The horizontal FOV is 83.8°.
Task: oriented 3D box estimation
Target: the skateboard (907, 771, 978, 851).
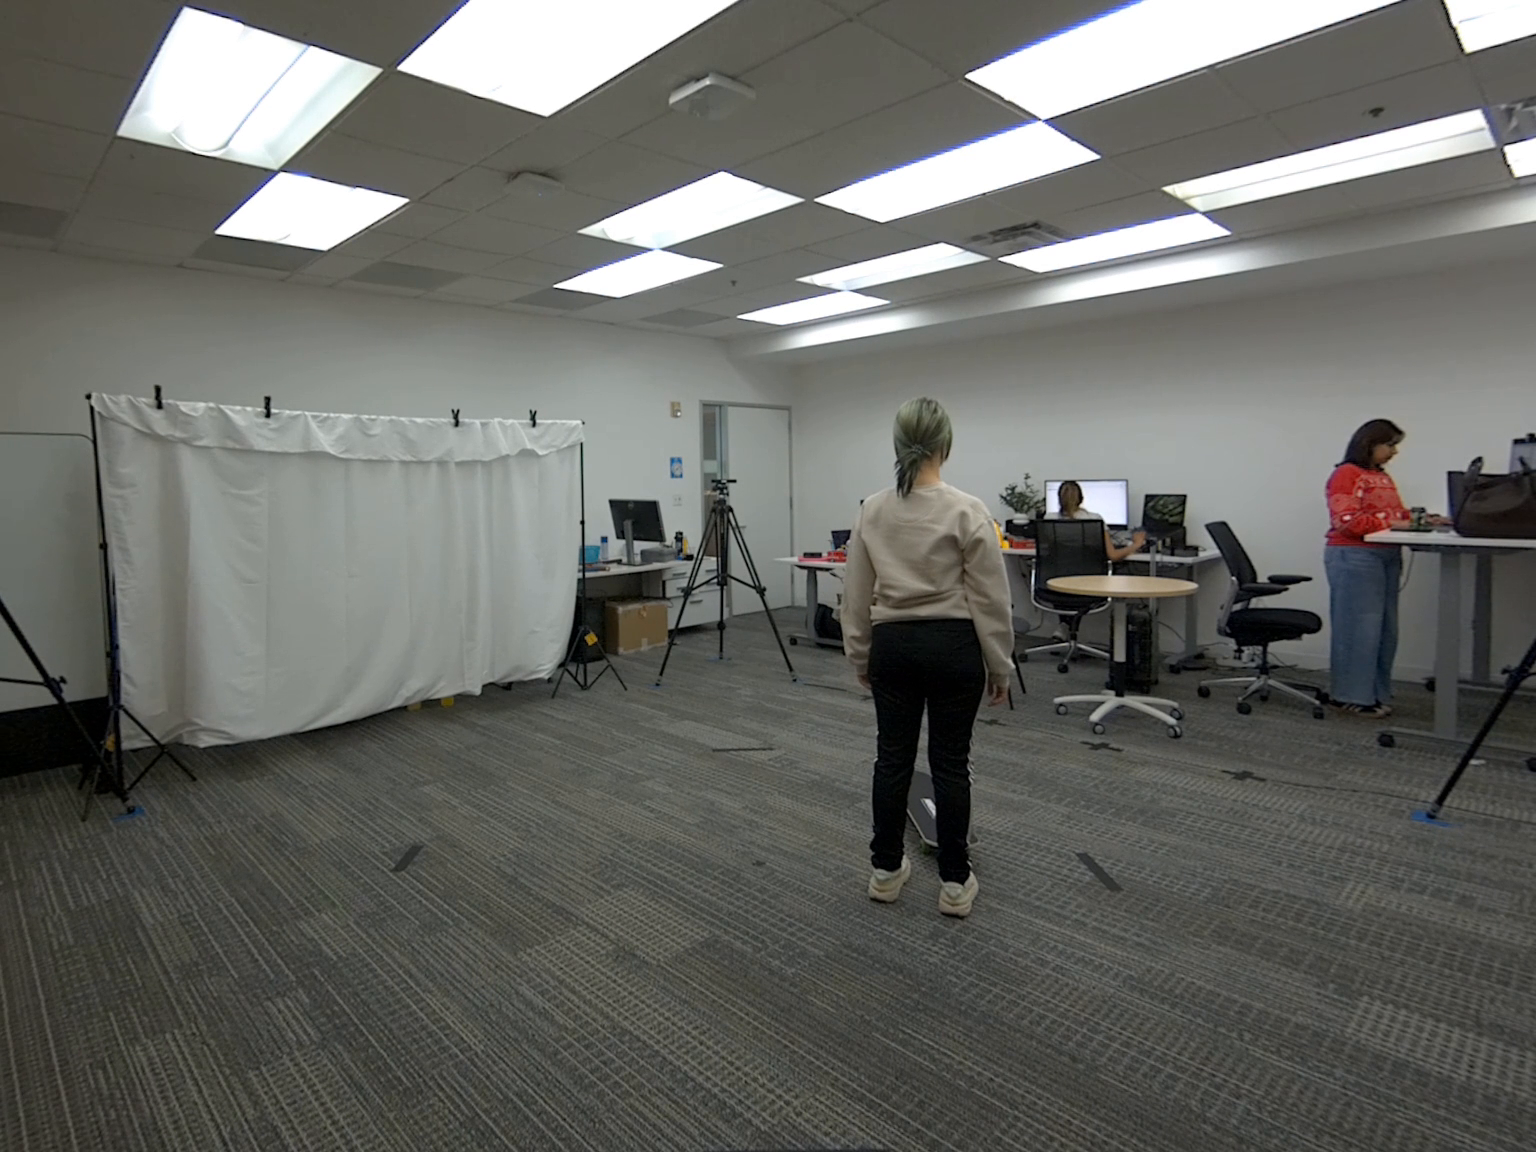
[{"bbox_3d":[0.642,0.946,3.370,0.193,0.110,0.791,-2,7,-3],"label":"skateboard"}]
